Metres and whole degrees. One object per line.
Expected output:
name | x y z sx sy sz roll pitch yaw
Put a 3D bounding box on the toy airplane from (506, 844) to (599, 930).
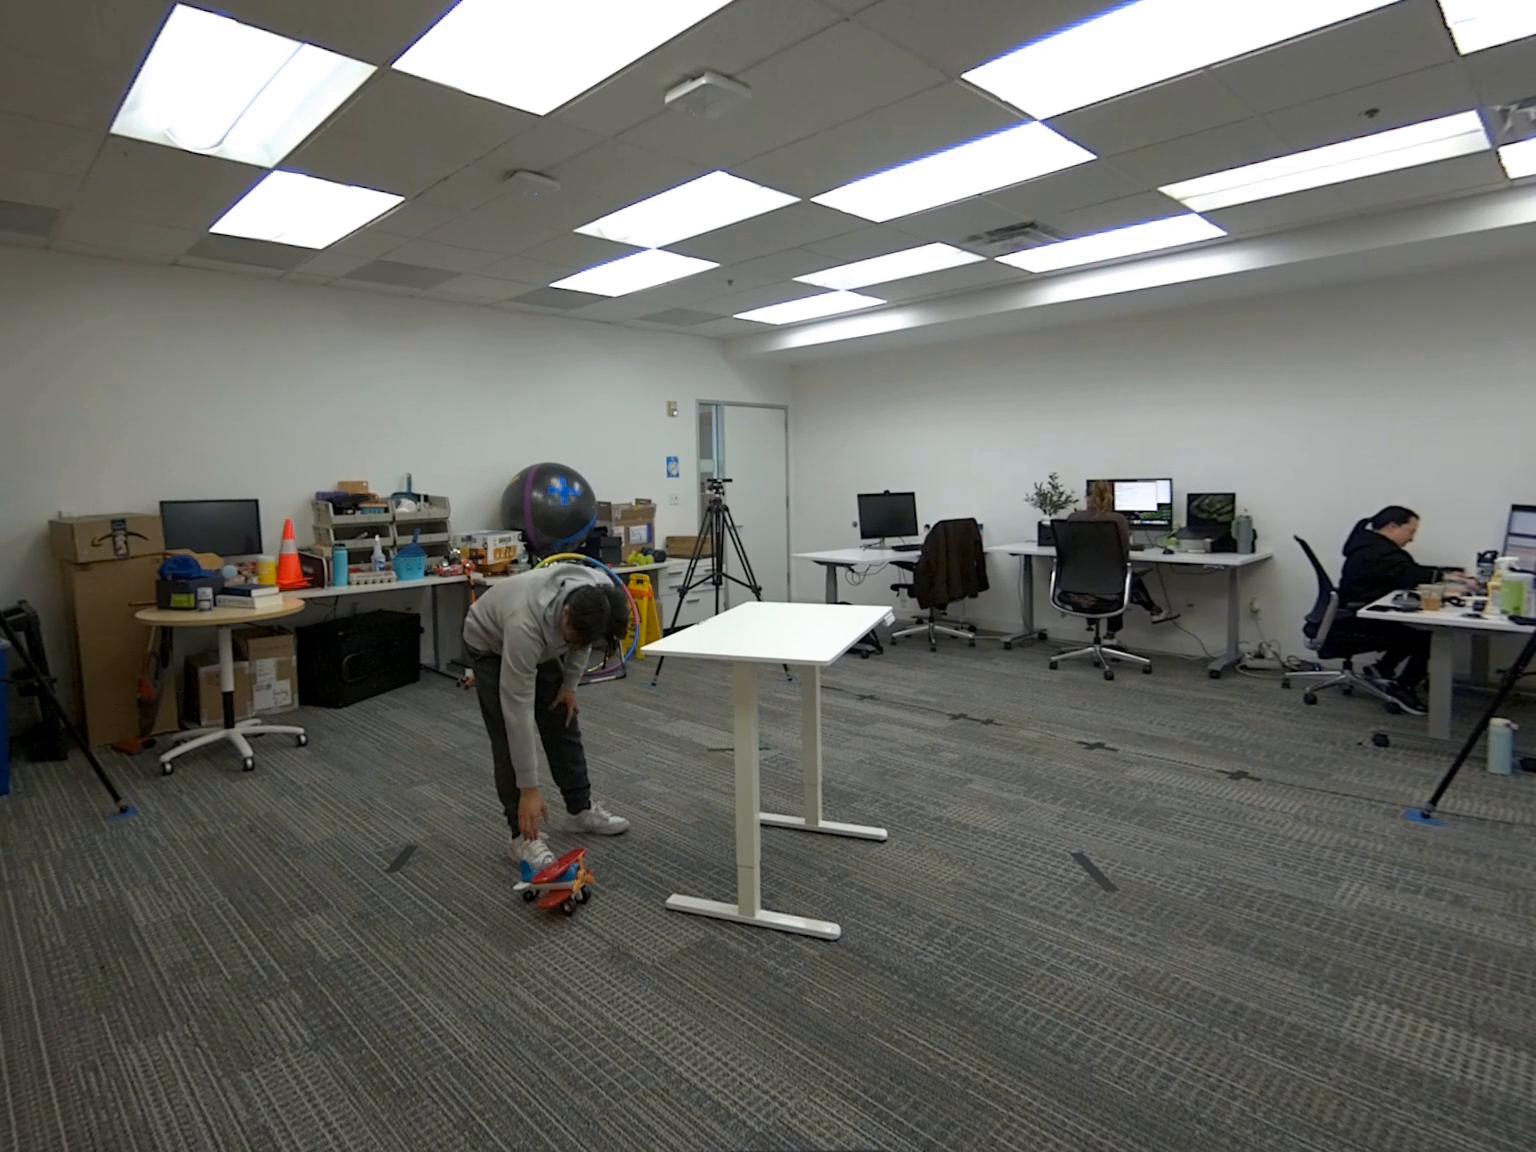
toy airplane | -0.703 1.015 2.818 0.258 0.156 0.253 -1 6 -5
